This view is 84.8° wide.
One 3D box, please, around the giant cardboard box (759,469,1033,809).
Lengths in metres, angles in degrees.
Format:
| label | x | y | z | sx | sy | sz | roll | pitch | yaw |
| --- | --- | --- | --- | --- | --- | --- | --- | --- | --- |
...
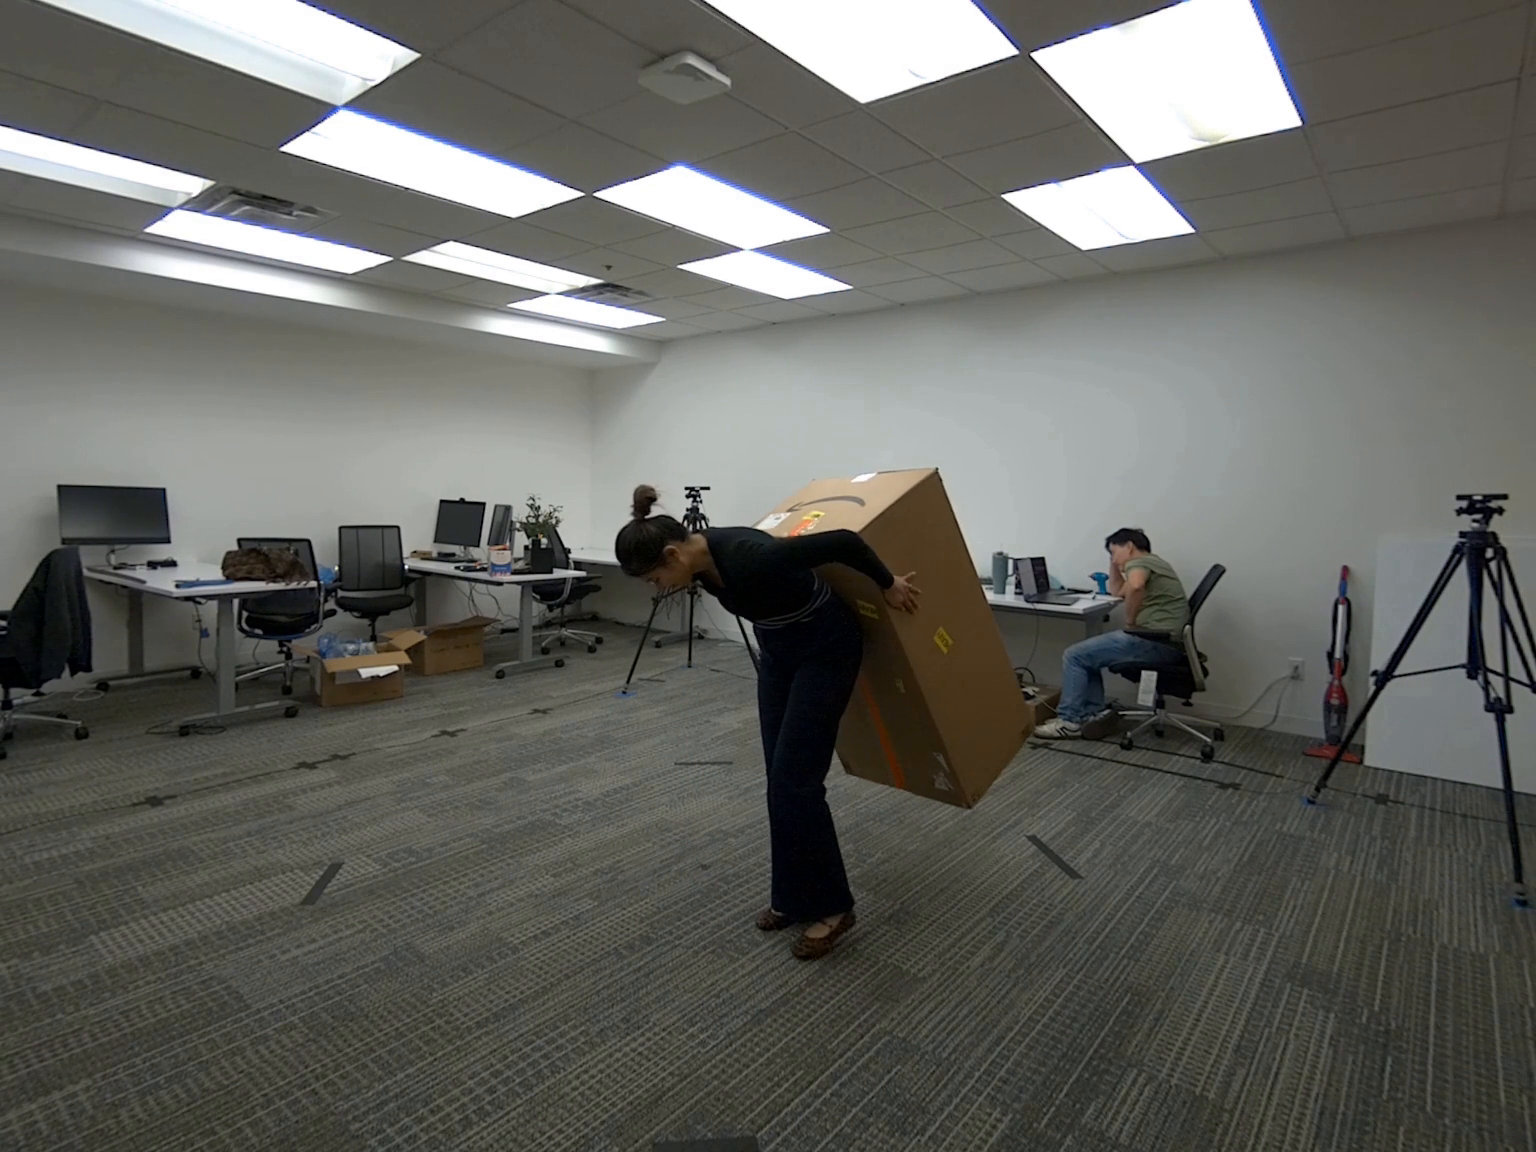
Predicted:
| label | x | y | z | sx | sy | sz | roll | pitch | yaw |
| --- | --- | --- | --- | --- | --- | --- | --- | --- | --- |
| giant cardboard box | 0.401 | 0.197 | 2.919 | 0.422 | 1.004 | 0.595 | -36 | 20 | -33 |
